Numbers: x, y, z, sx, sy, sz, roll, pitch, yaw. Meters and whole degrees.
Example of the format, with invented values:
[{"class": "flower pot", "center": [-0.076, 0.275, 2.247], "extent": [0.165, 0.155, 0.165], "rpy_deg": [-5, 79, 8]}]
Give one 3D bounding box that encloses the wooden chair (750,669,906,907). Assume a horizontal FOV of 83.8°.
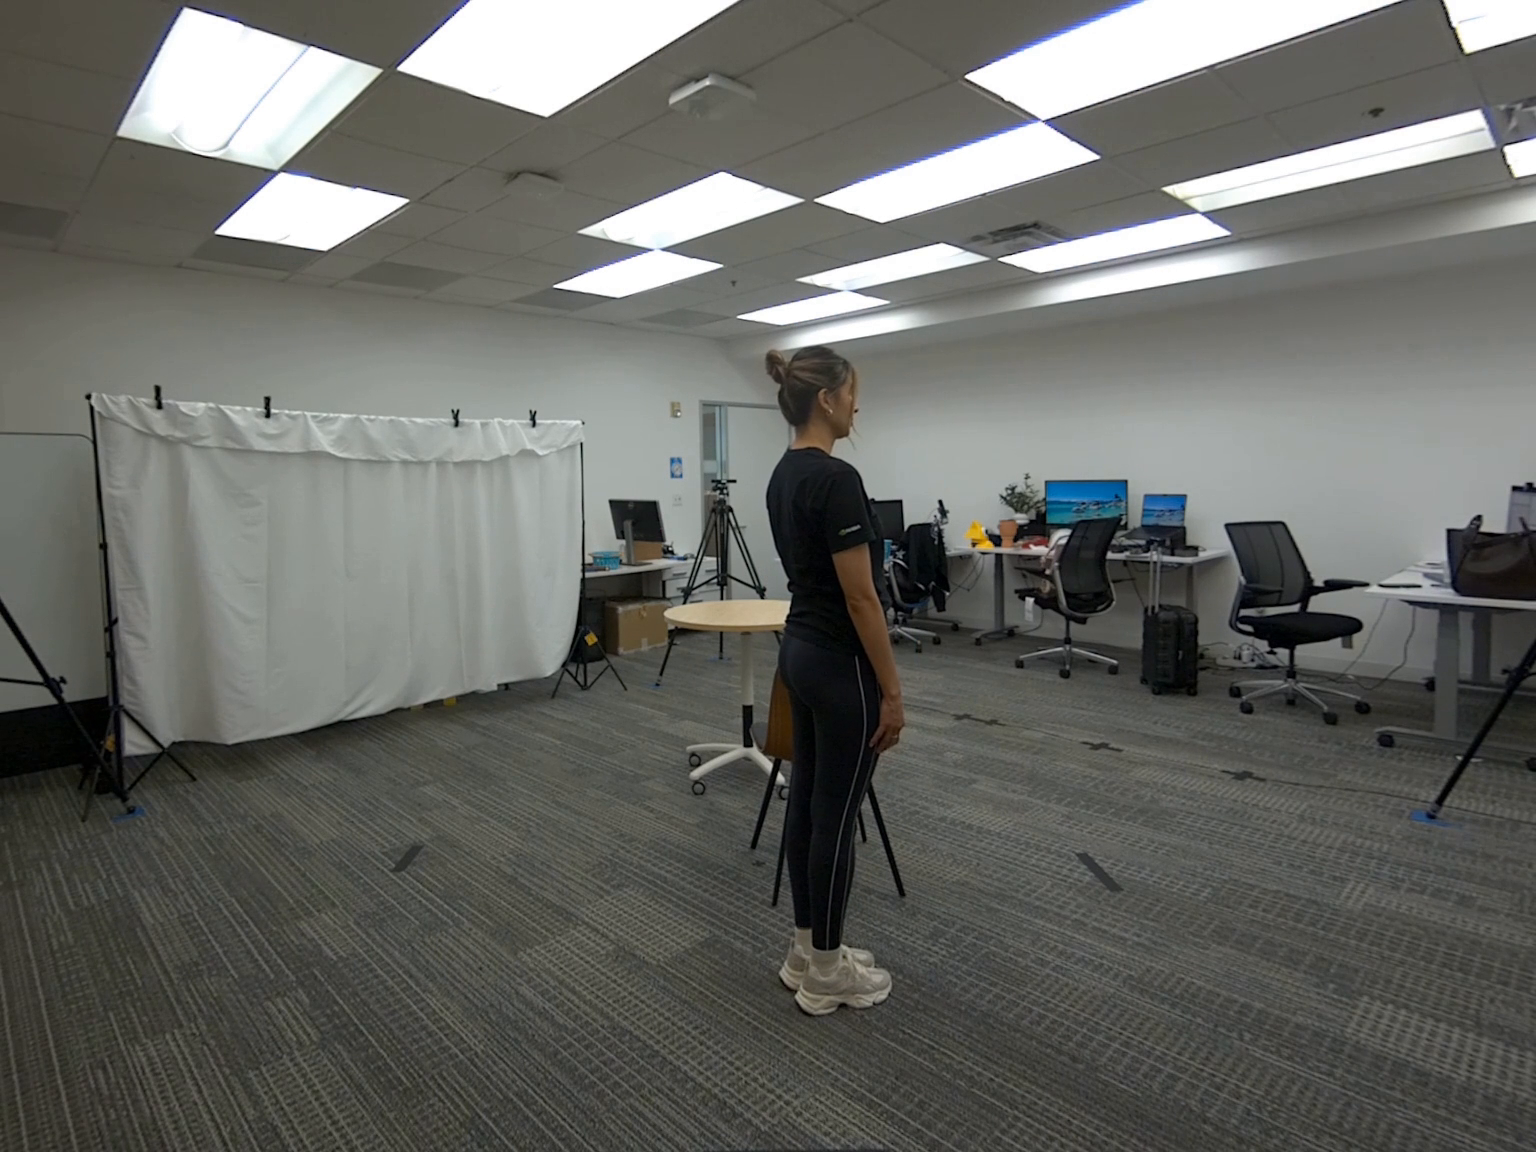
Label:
[{"class": "wooden chair", "center": [0.187, 0.627, 3.018], "extent": [0.474, 0.871, 0.531], "rpy_deg": [-2, 8, -9]}]
